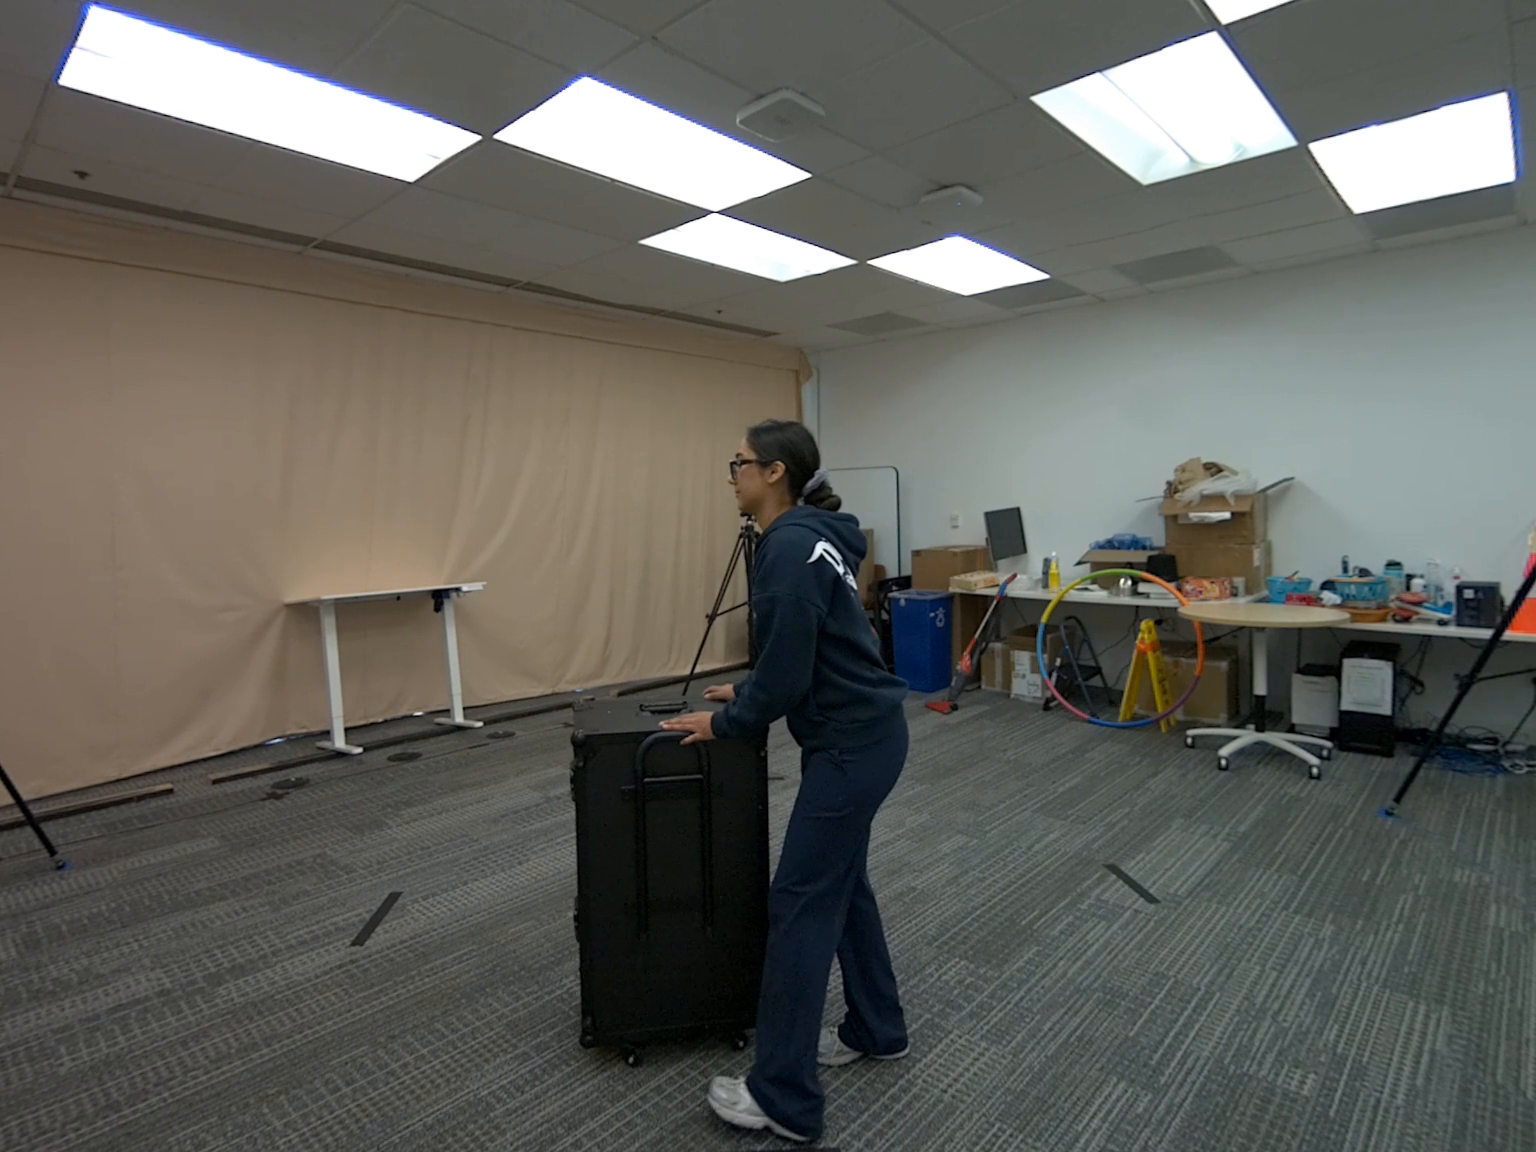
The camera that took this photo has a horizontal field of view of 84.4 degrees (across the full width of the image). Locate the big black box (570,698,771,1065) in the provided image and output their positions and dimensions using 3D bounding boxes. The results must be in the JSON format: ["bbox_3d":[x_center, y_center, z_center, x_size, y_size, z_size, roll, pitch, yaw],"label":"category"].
[{"bbox_3d":[-0.262,0.785,2.248,0.516,0.859,0.401,-1,4,-9],"label":"big black box"}]
